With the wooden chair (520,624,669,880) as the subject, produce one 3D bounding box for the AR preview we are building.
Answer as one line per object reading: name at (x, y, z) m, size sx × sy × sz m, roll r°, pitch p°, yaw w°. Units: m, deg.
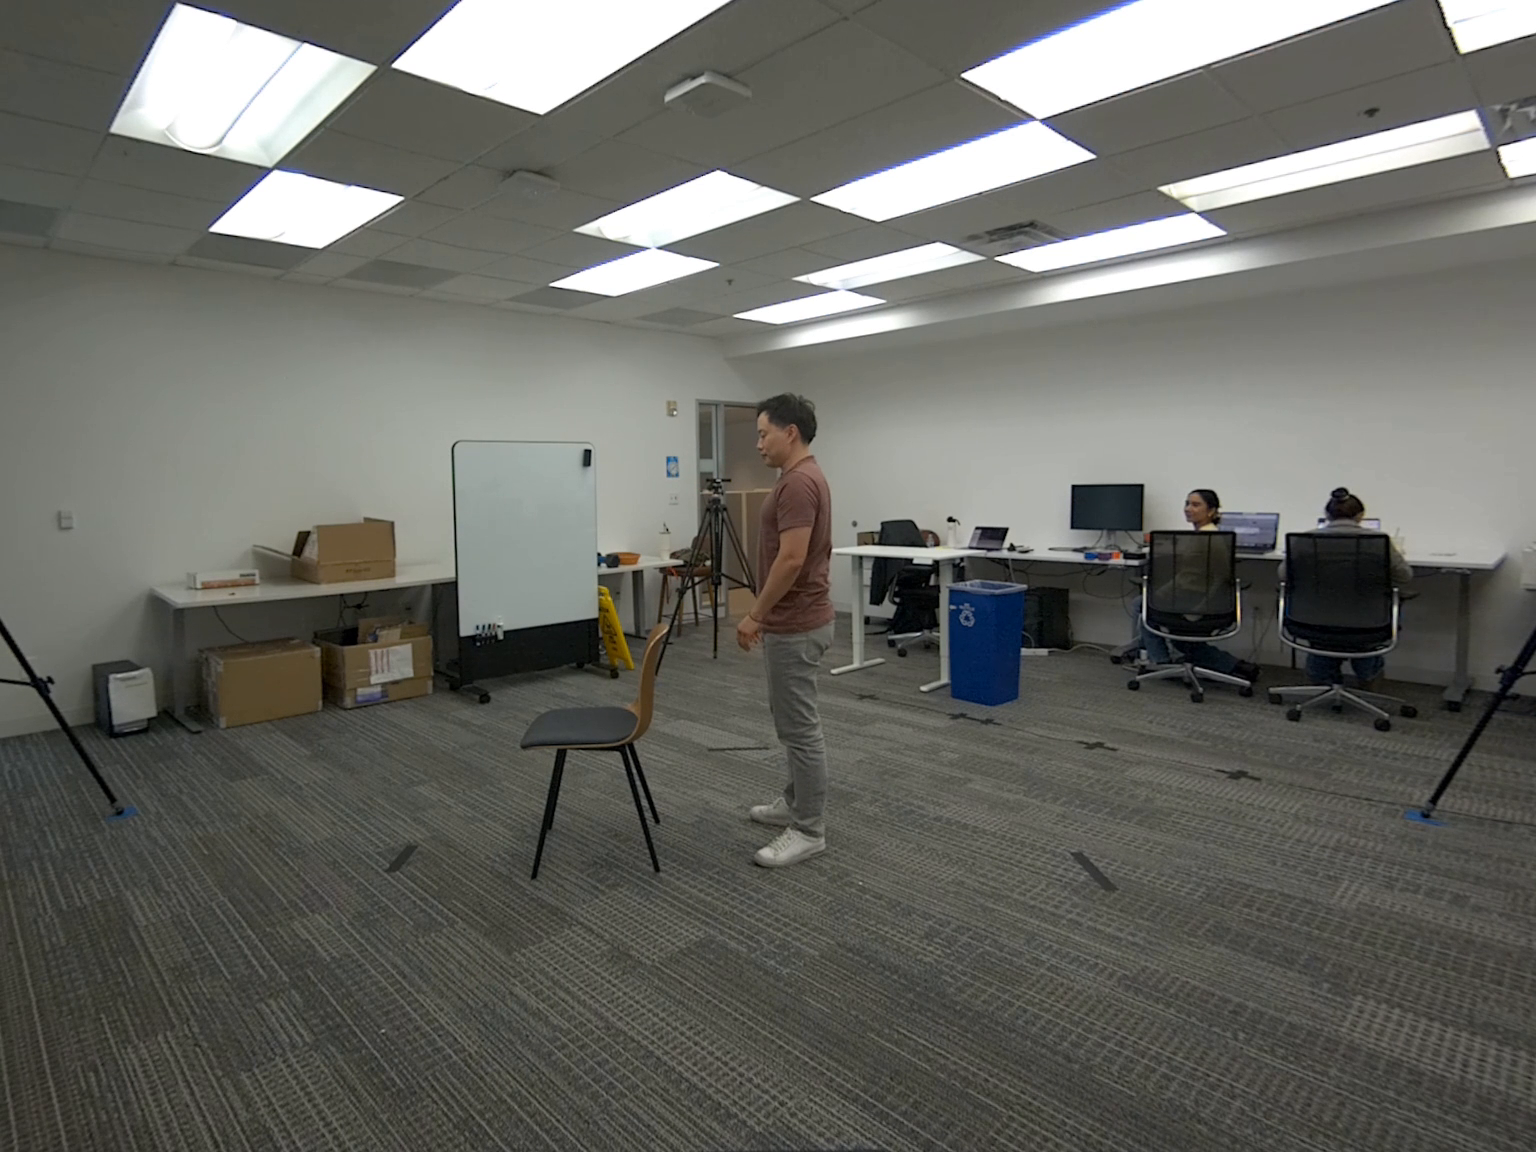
wooden chair at (-0.650, 0.615, 3.206) m, size 0.520 × 0.874 × 0.483 m, roll 3°, pitch 4°, yaw -6°
